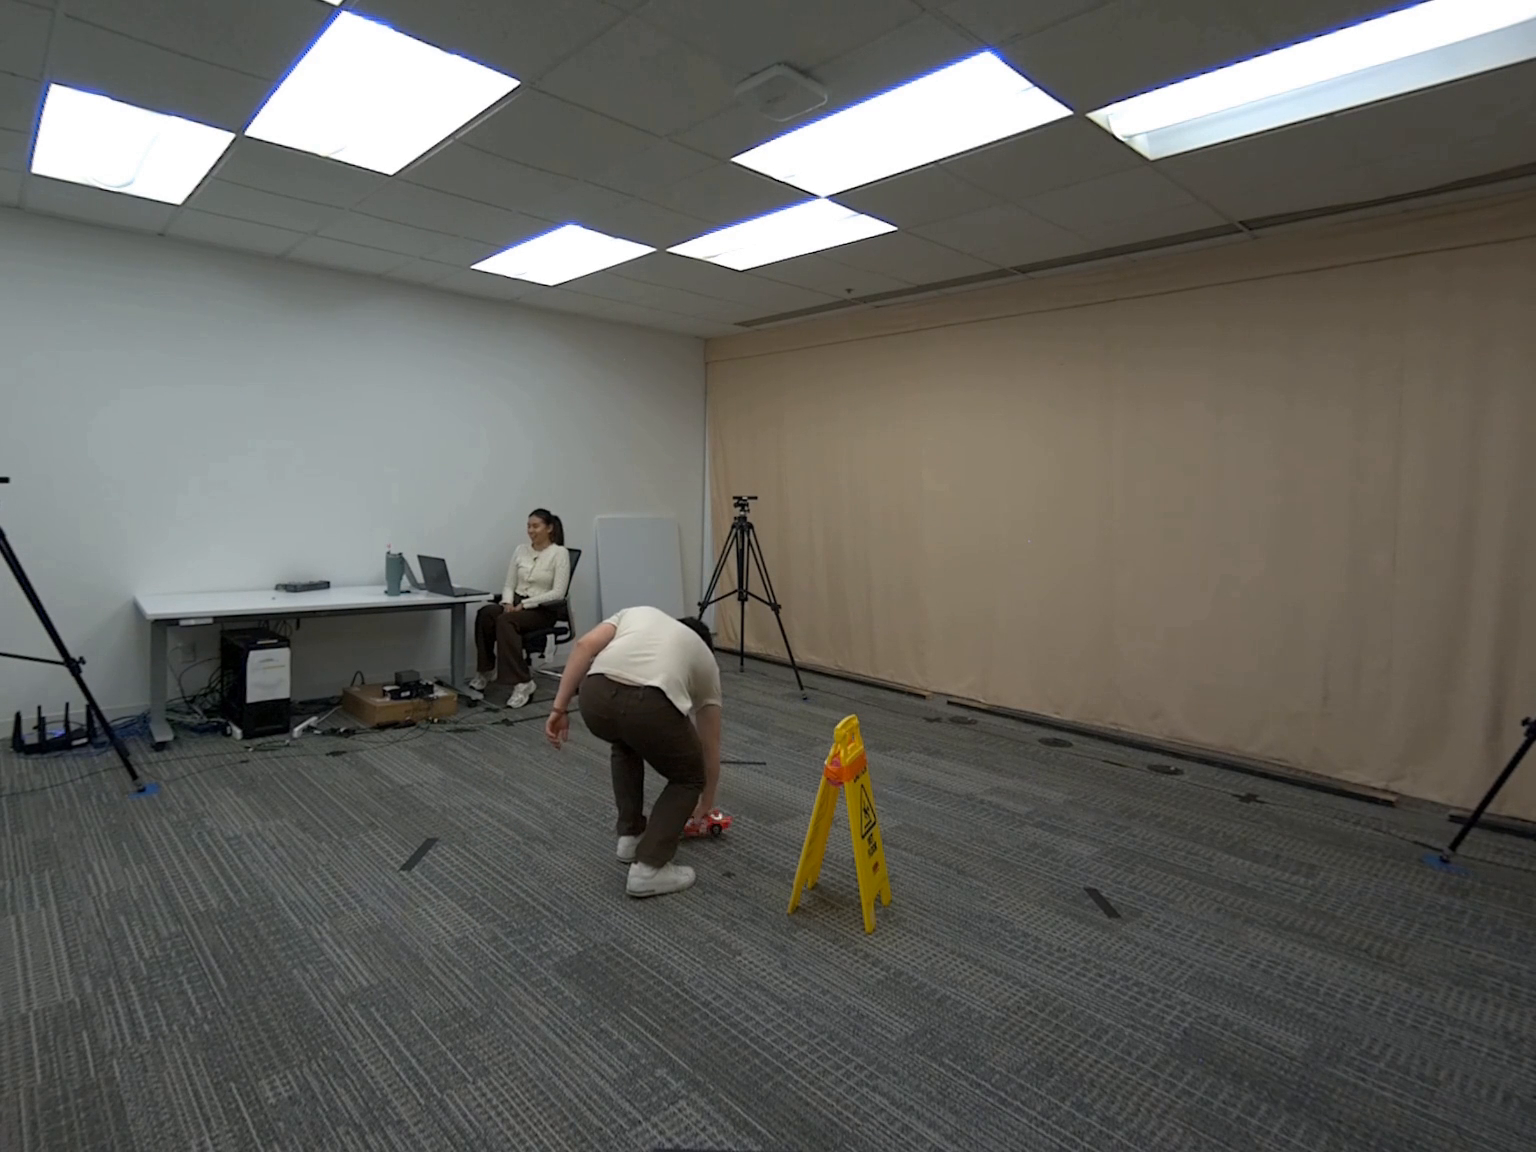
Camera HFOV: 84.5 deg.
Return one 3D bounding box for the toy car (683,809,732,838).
[{"bbox_3d":[-0.275,1.013,3.434,0.253,0.083,0.130,-15,-3,-7],"label":"toy car"}]
